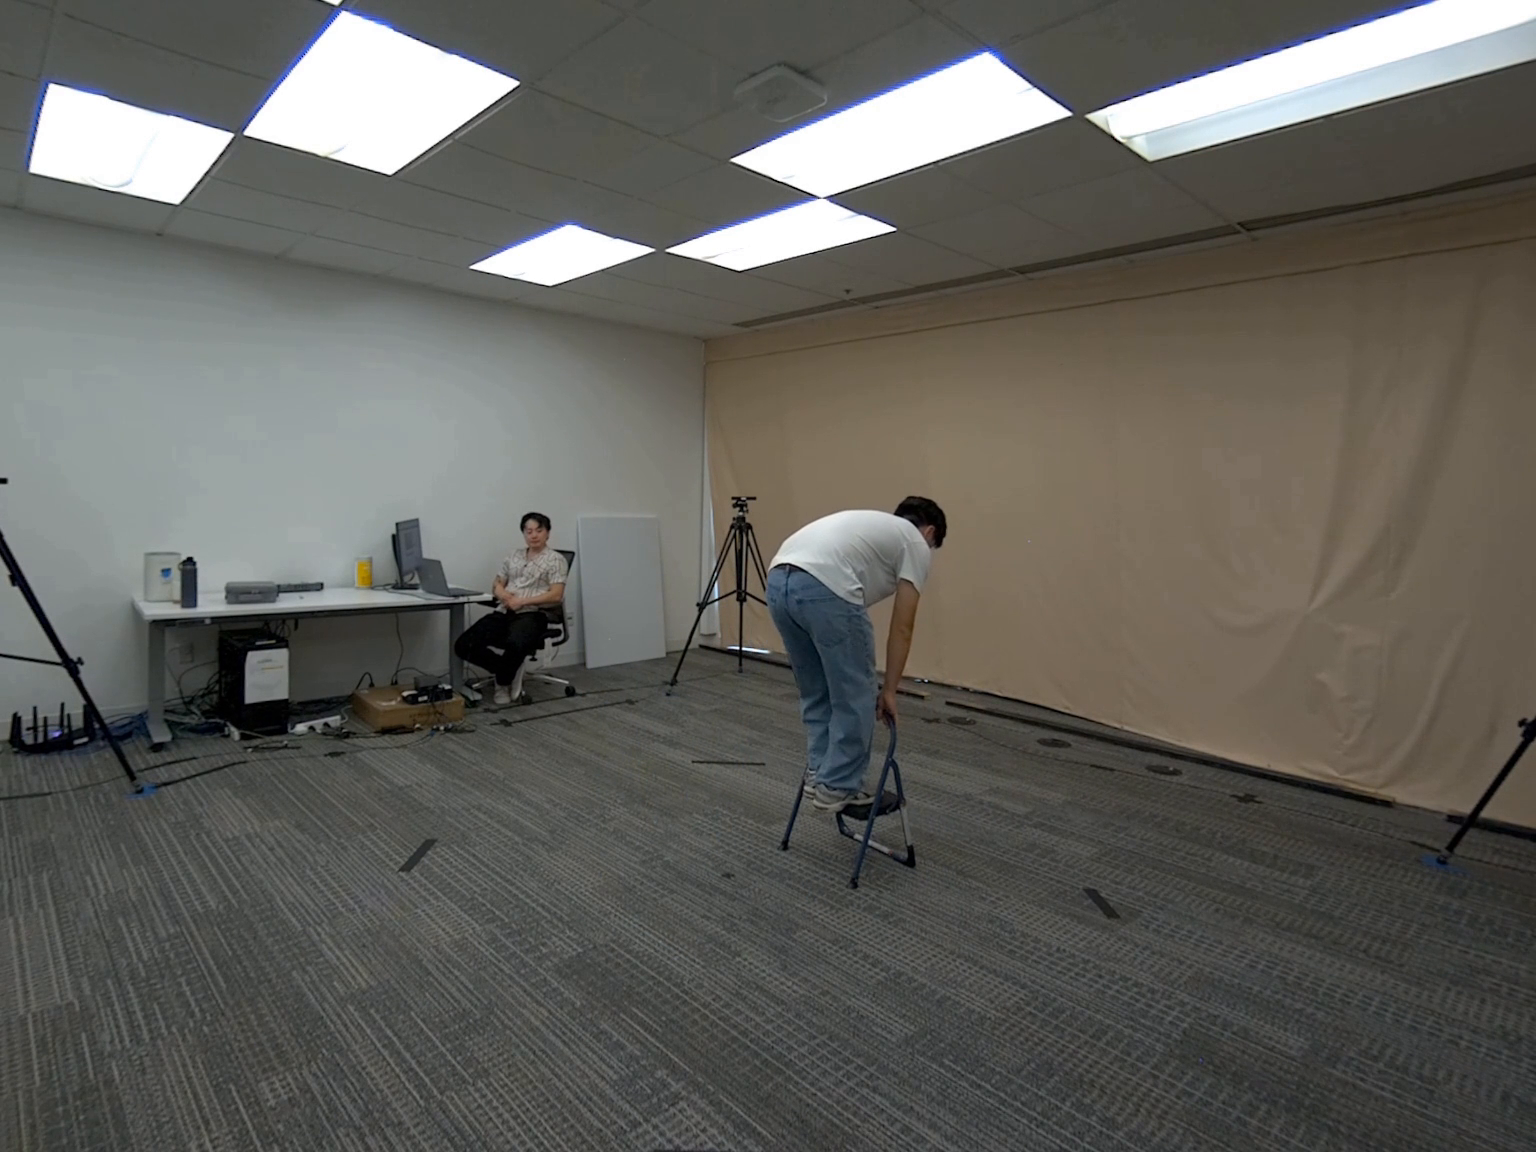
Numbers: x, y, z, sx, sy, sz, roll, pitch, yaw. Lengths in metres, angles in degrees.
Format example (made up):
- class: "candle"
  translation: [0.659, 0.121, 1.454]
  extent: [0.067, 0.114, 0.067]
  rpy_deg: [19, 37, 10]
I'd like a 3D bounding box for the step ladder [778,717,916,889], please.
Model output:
- class: "step ladder"
  translation: [0.312, 0.801, 3.272]
  extent: [0.341, 0.605, 0.441]
  rpy_deg: [-1, 4, -37]
